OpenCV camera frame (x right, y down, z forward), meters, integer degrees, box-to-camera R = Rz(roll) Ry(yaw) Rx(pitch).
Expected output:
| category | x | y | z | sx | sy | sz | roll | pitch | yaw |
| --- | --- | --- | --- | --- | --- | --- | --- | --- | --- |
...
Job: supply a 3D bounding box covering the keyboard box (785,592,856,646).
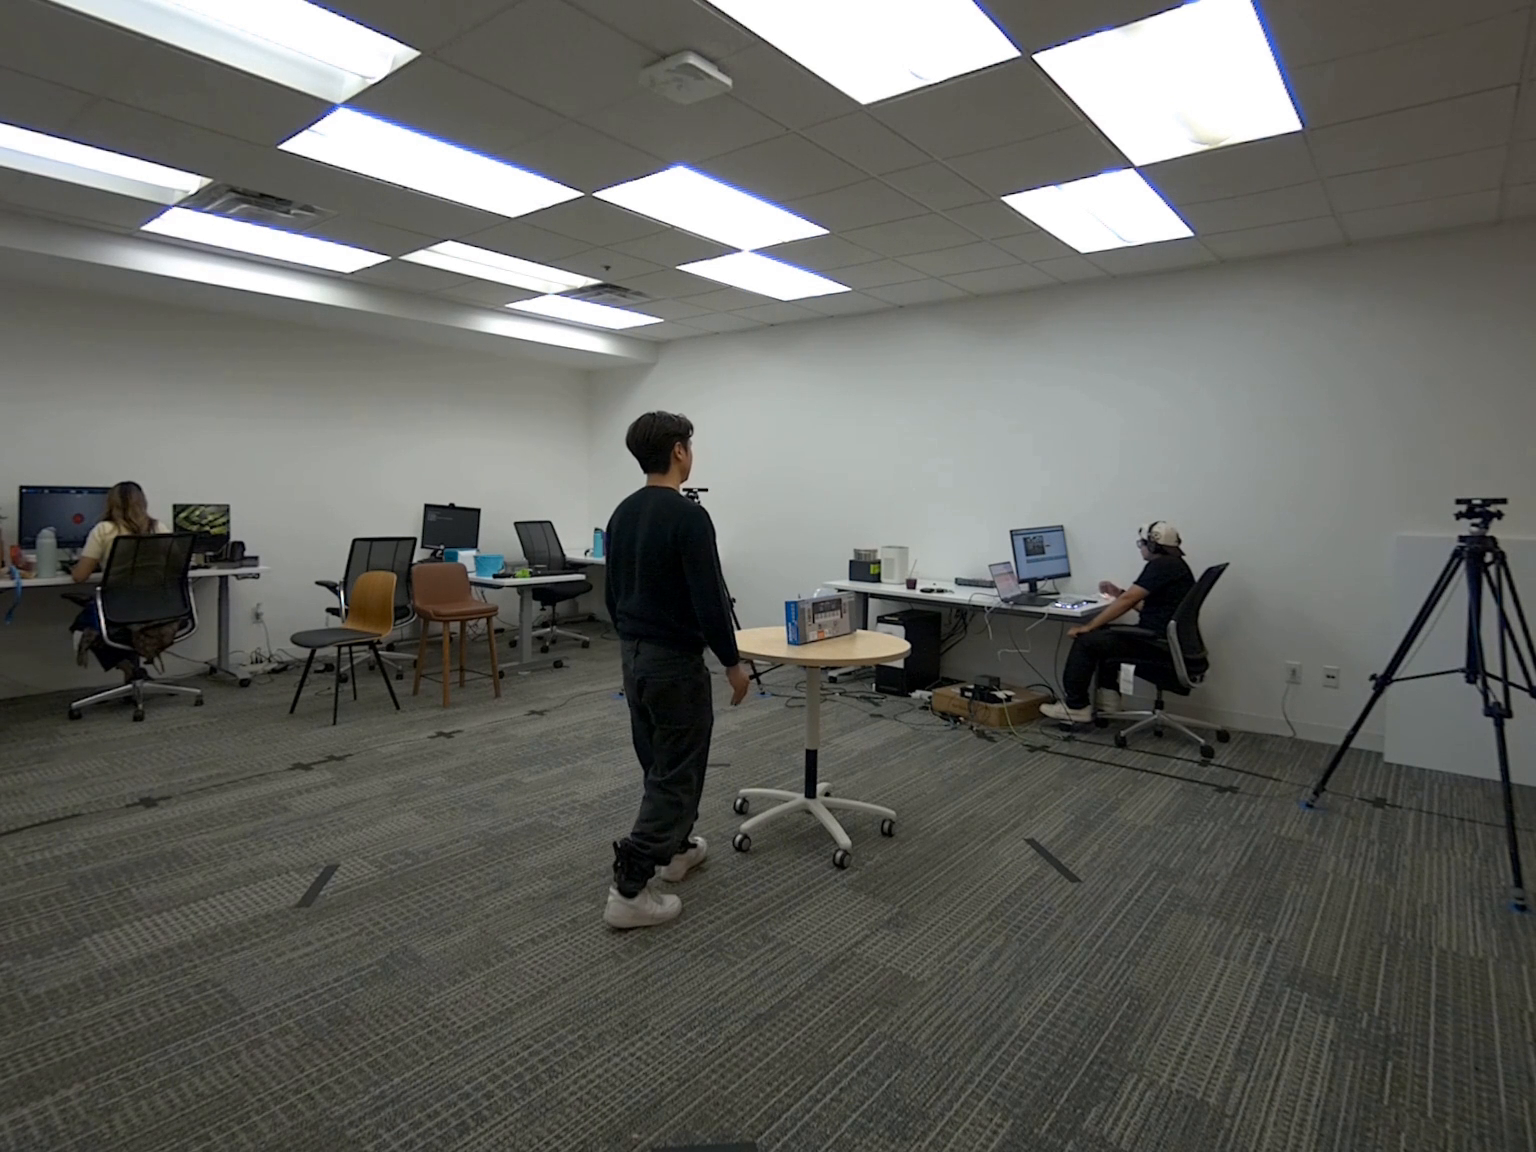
| category | x | y | z | sx | sy | sz | roll | pitch | yaw |
| --- | --- | --- | --- | --- | --- | --- | --- | --- | --- |
| keyboard box | 0.216 | 0.168 | 3.519 | 0.061 | 0.176 | 0.424 | -3 | 2 | 39 |
